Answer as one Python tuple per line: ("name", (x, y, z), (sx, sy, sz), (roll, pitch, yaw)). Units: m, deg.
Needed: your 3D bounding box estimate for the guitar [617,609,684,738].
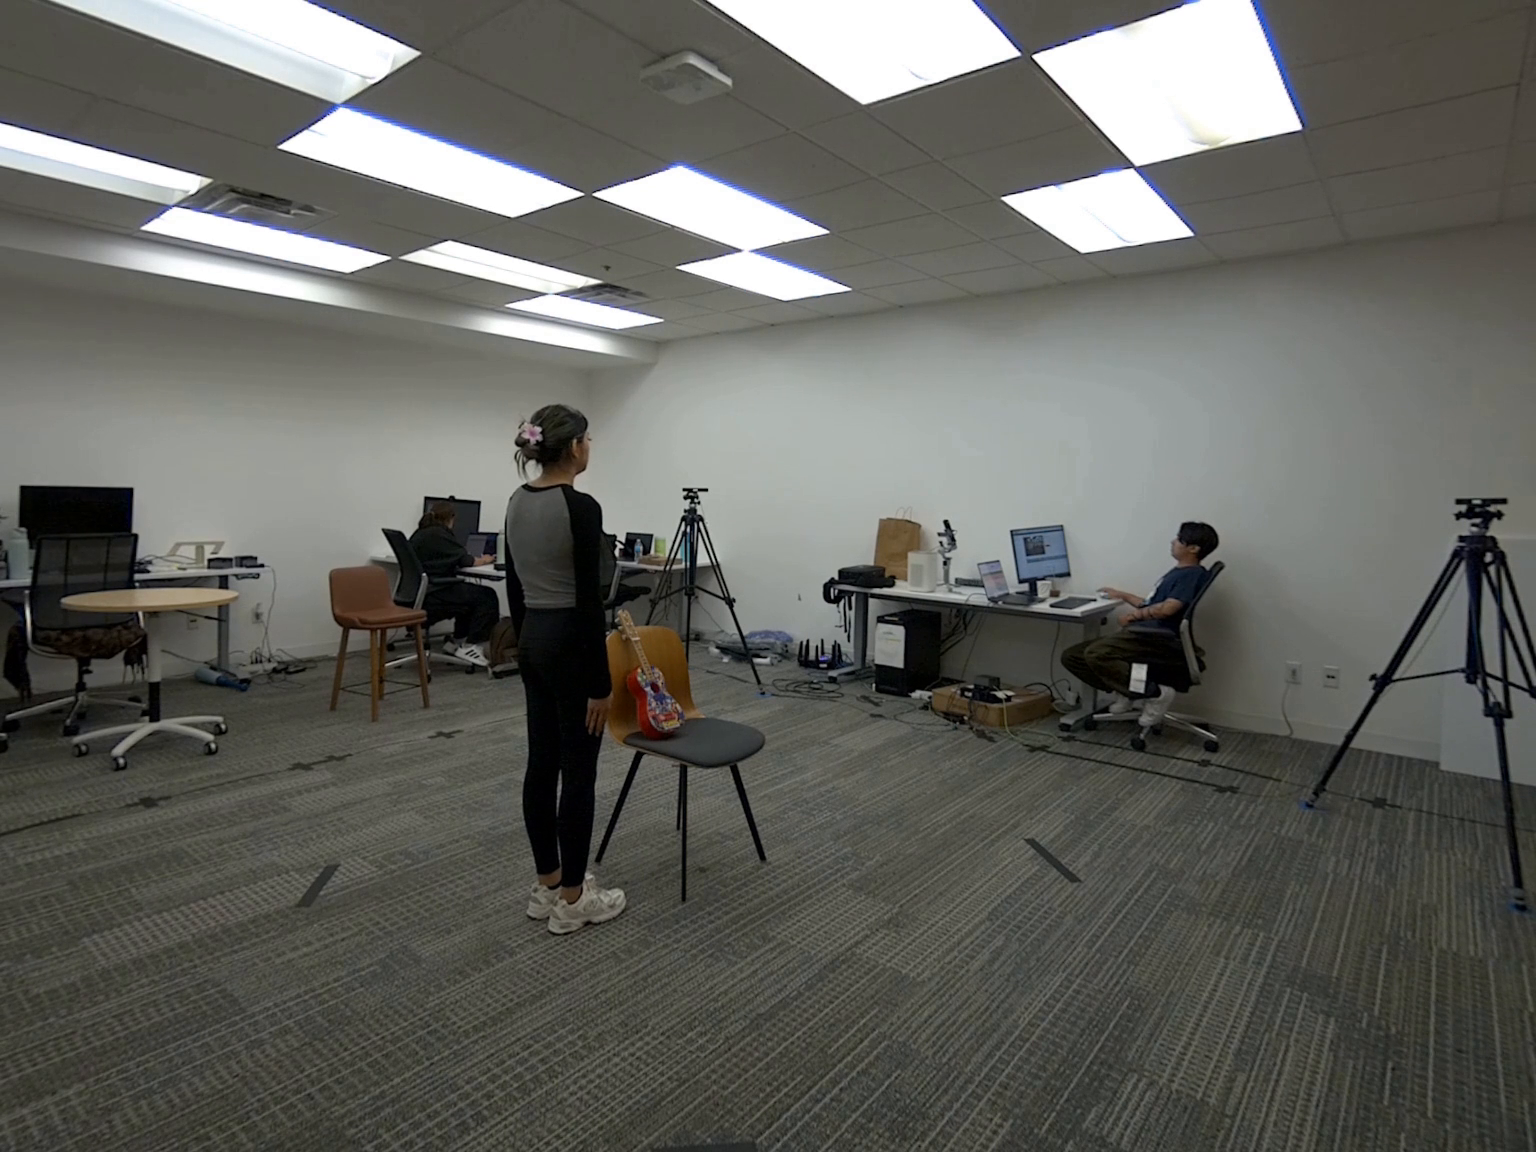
("guitar", (-0.460, 0.363, 3.219), (0.071, 0.513, 0.186), (-36, -29, 30))
